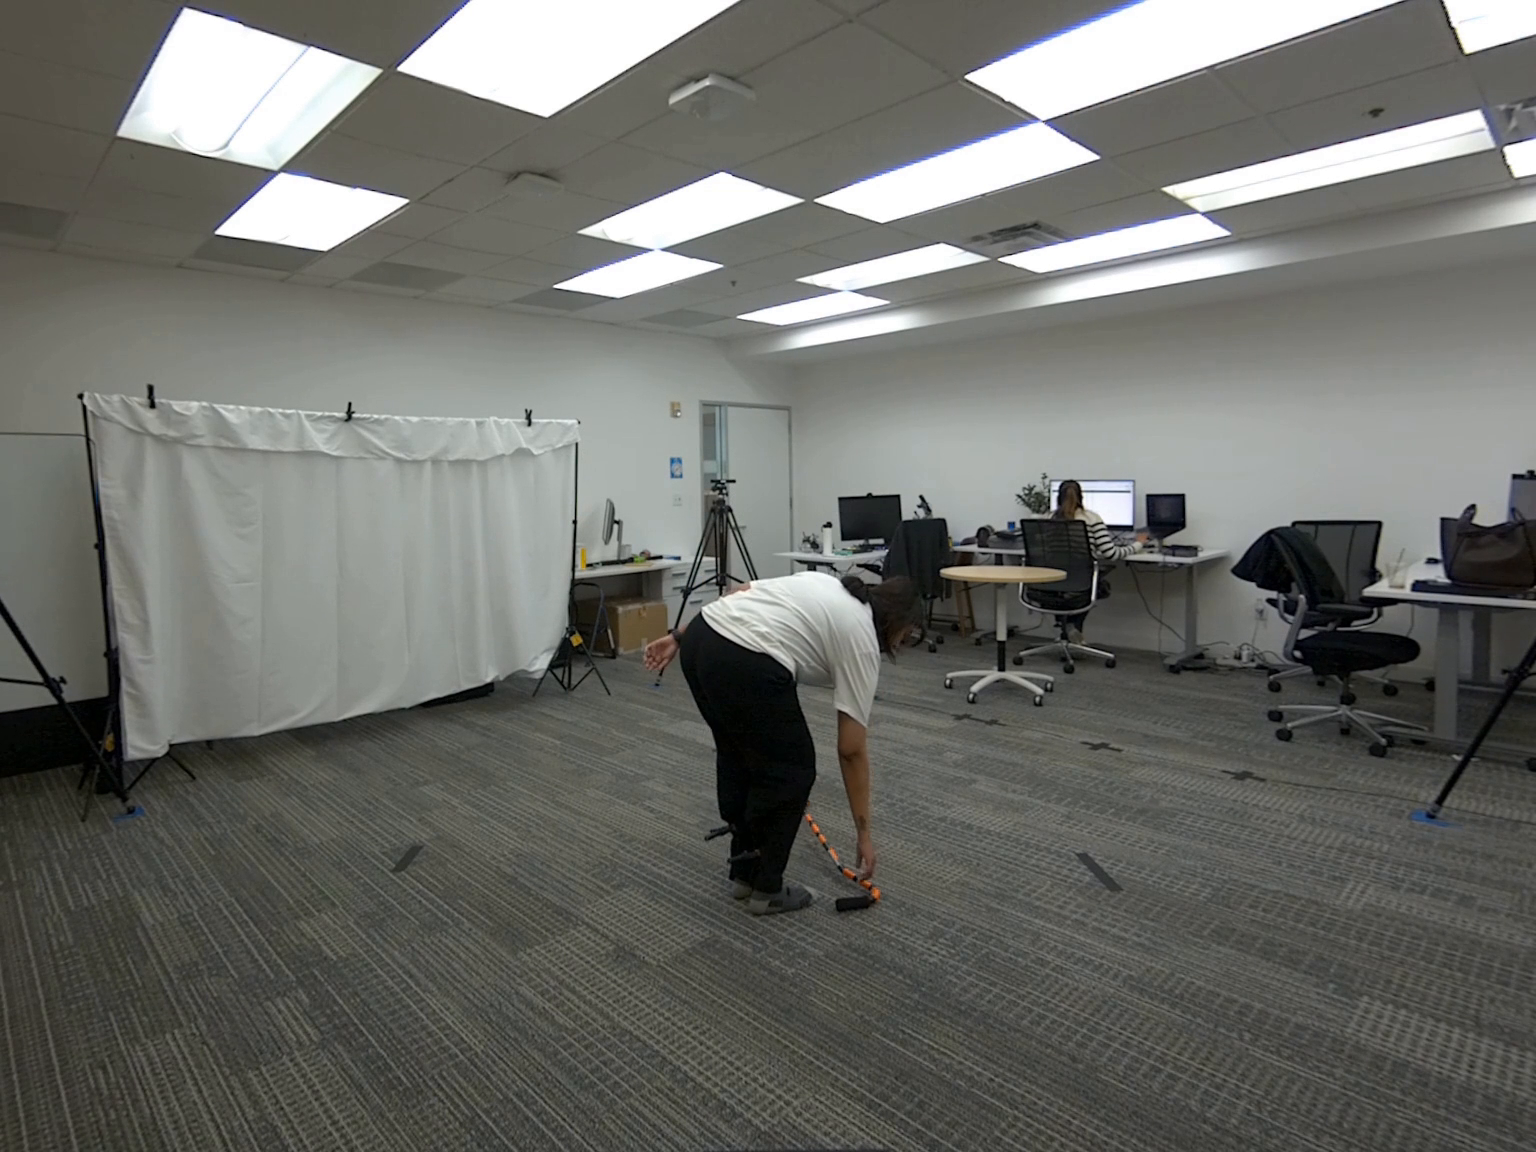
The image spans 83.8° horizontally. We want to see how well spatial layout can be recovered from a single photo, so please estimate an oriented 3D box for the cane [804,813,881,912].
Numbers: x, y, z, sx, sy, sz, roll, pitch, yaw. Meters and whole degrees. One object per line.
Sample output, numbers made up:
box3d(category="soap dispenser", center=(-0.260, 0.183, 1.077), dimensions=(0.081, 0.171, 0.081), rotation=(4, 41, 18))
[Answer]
box3d(category="cane", center=(0.200, 0.984, 3.214), dimensions=(0.204, 0.150, 0.928), rotation=(-2, 11, -16))
